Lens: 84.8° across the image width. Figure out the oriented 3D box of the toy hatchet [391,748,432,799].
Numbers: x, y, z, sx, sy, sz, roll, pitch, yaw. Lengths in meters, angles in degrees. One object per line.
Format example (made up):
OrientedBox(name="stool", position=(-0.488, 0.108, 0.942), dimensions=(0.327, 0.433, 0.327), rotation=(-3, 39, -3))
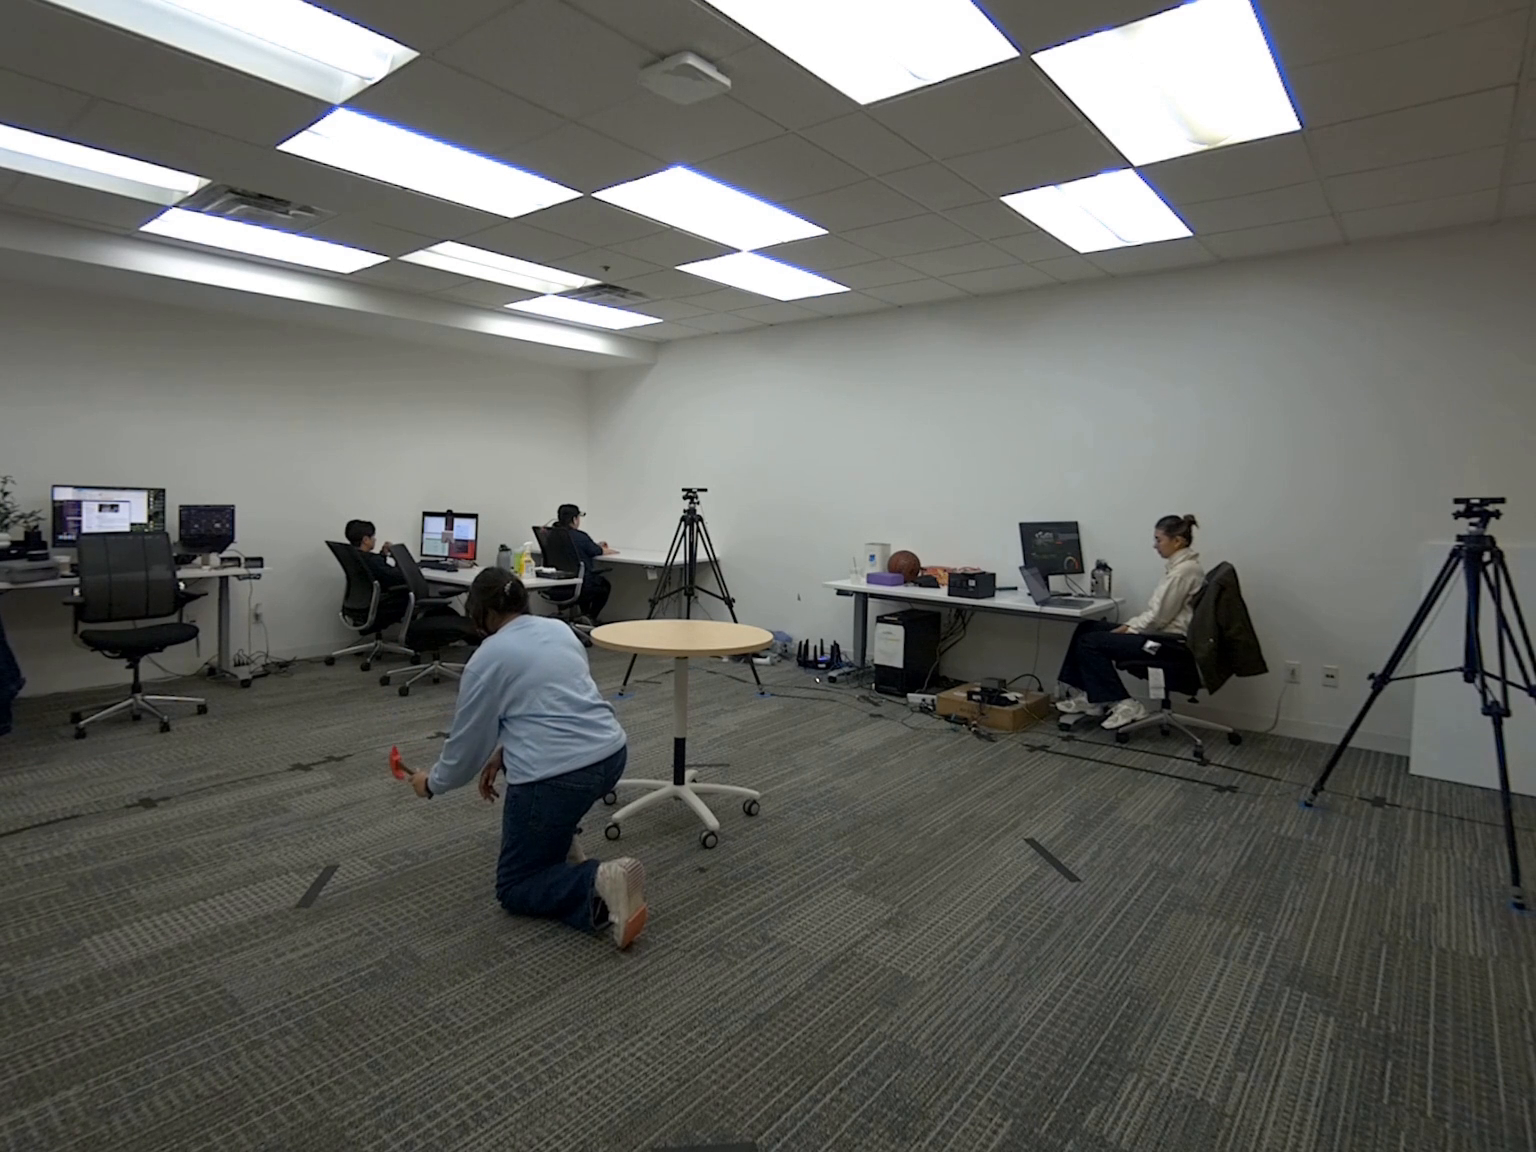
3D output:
OrientedBox(name="toy hatchet", position=(-1.308, 0.725, 3.061), dimensions=(0.280, 0.129, 0.029), rotation=(34, 26, 30))
